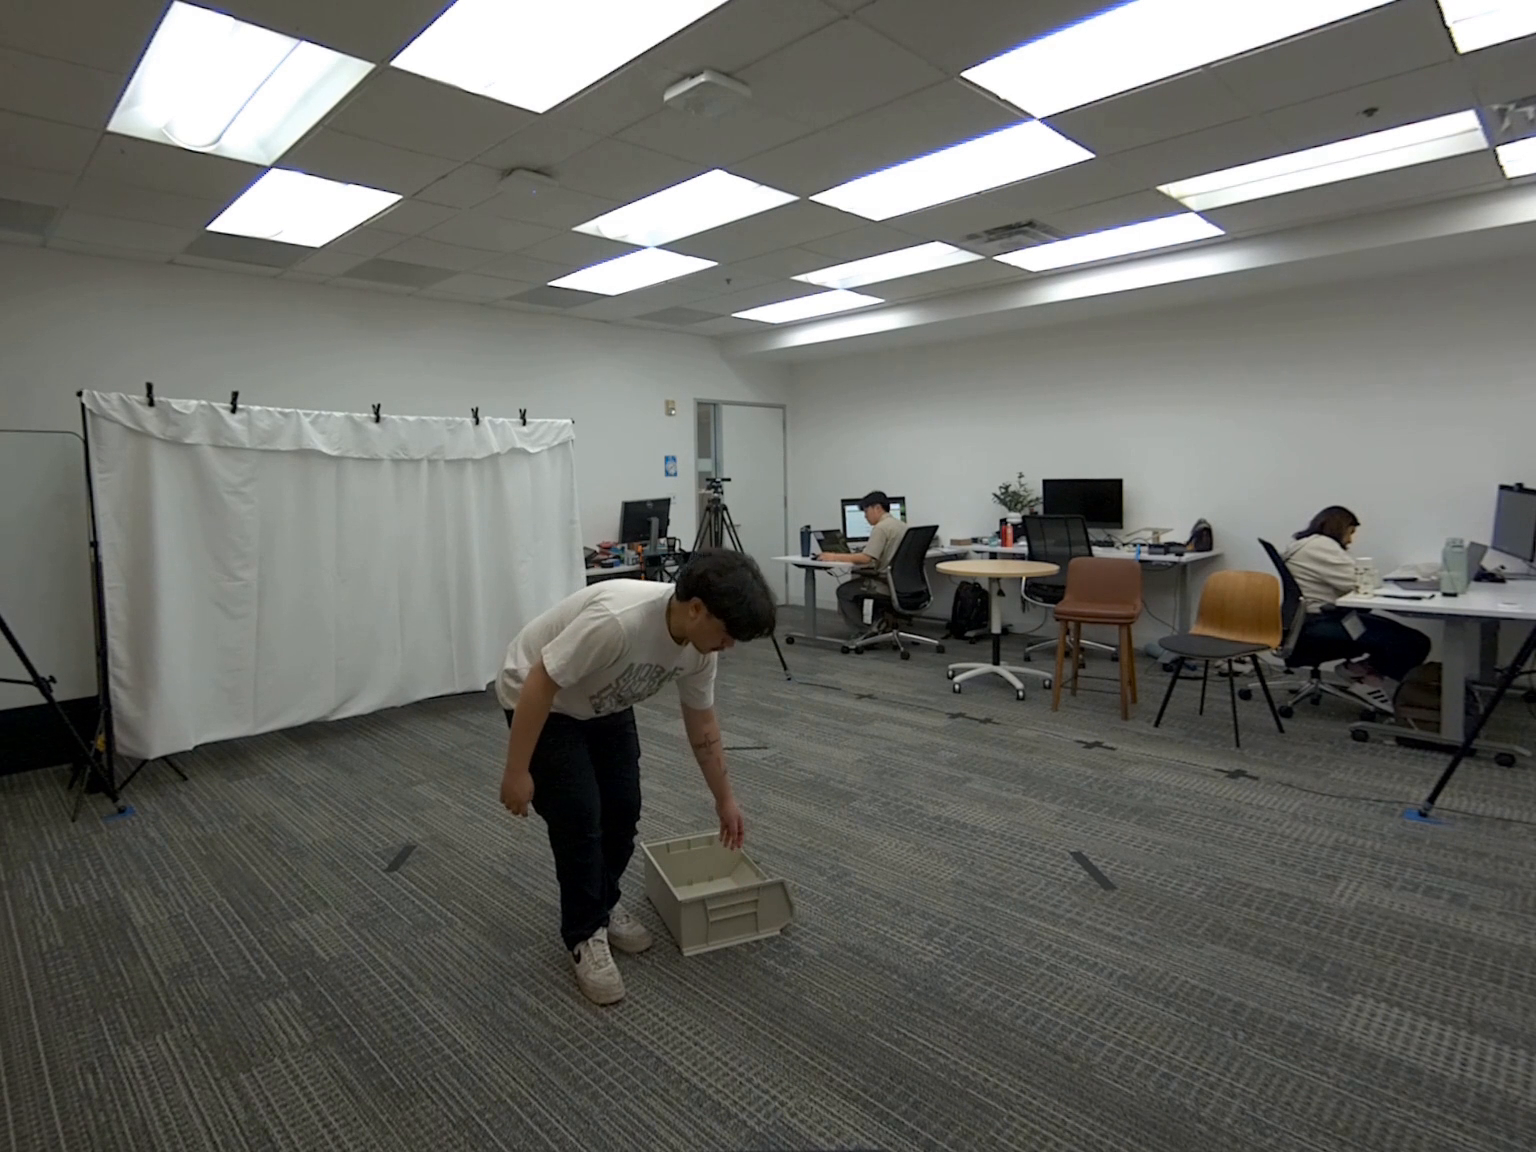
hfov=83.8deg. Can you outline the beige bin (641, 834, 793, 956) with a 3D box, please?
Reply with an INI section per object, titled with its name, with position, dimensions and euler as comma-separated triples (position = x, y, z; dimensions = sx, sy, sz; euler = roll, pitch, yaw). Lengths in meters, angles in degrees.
[beige bin]
position = -0.170, 0.997, 2.752
dimensions = 0.370, 0.188, 0.433
euler = -4, 8, -23
